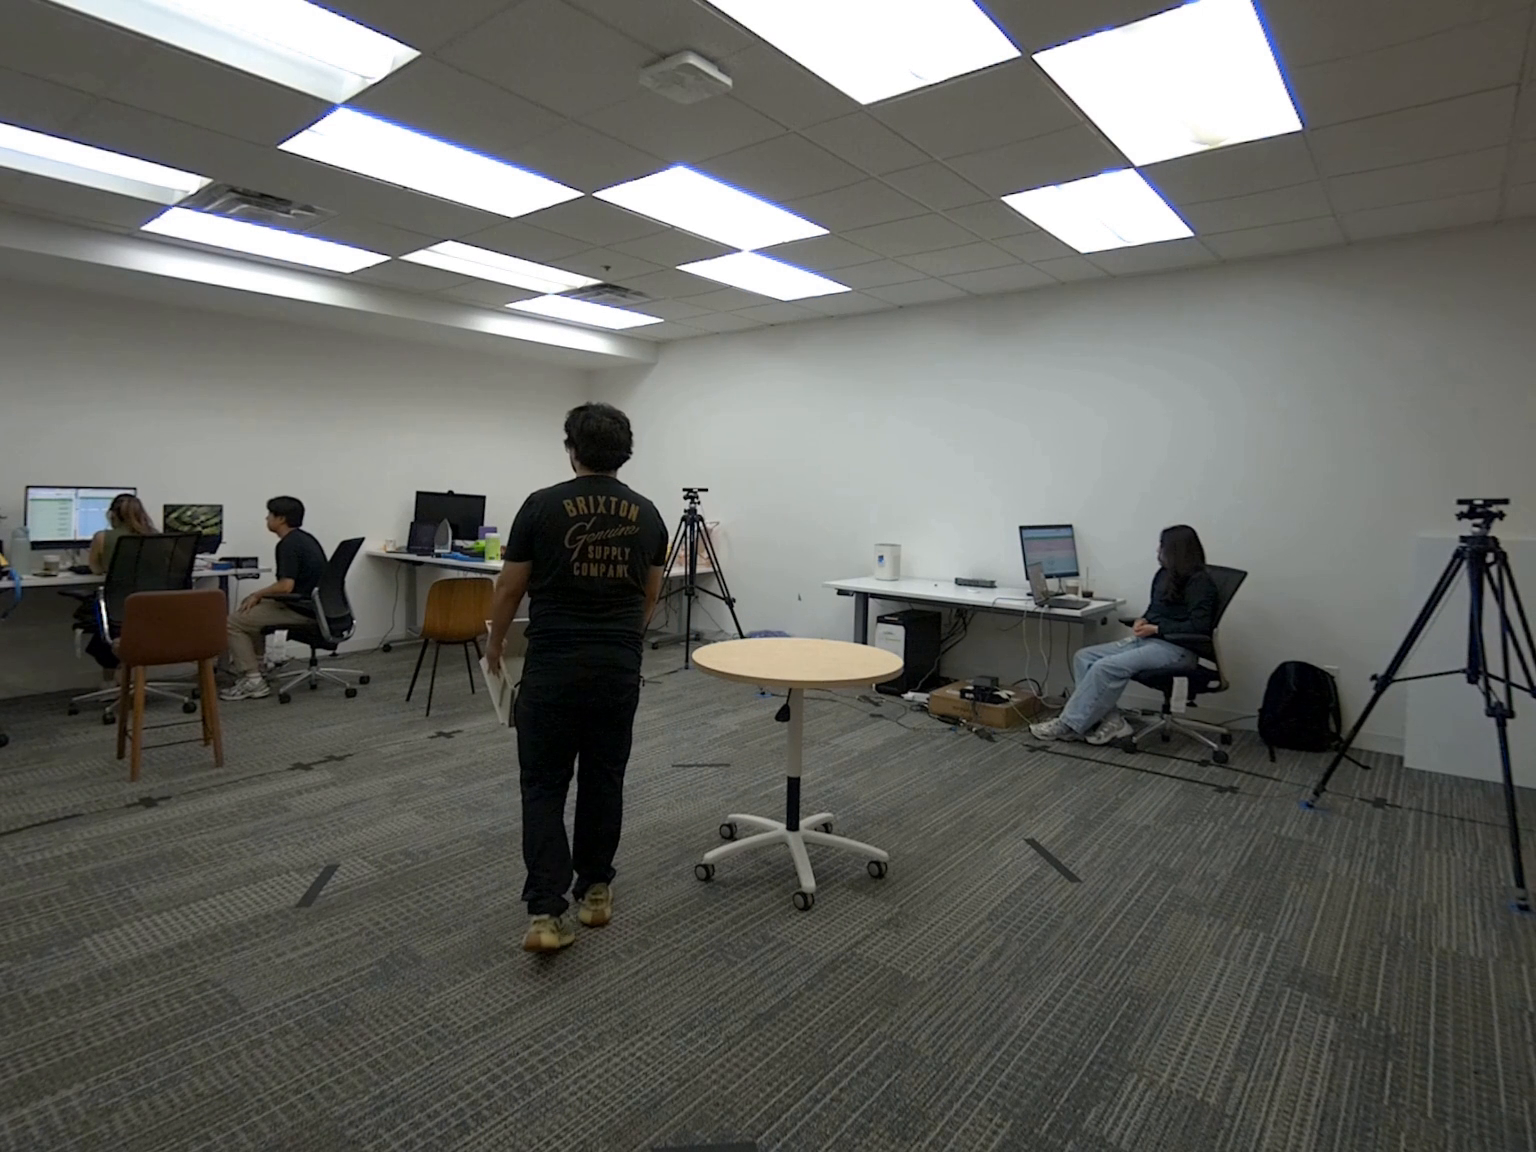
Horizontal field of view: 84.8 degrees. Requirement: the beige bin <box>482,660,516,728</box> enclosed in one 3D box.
[{"bbox_3d":[-0.772,0.336,2.993,0.410,0.186,0.393,-2,37,-33],"label":"beige bin"}]
